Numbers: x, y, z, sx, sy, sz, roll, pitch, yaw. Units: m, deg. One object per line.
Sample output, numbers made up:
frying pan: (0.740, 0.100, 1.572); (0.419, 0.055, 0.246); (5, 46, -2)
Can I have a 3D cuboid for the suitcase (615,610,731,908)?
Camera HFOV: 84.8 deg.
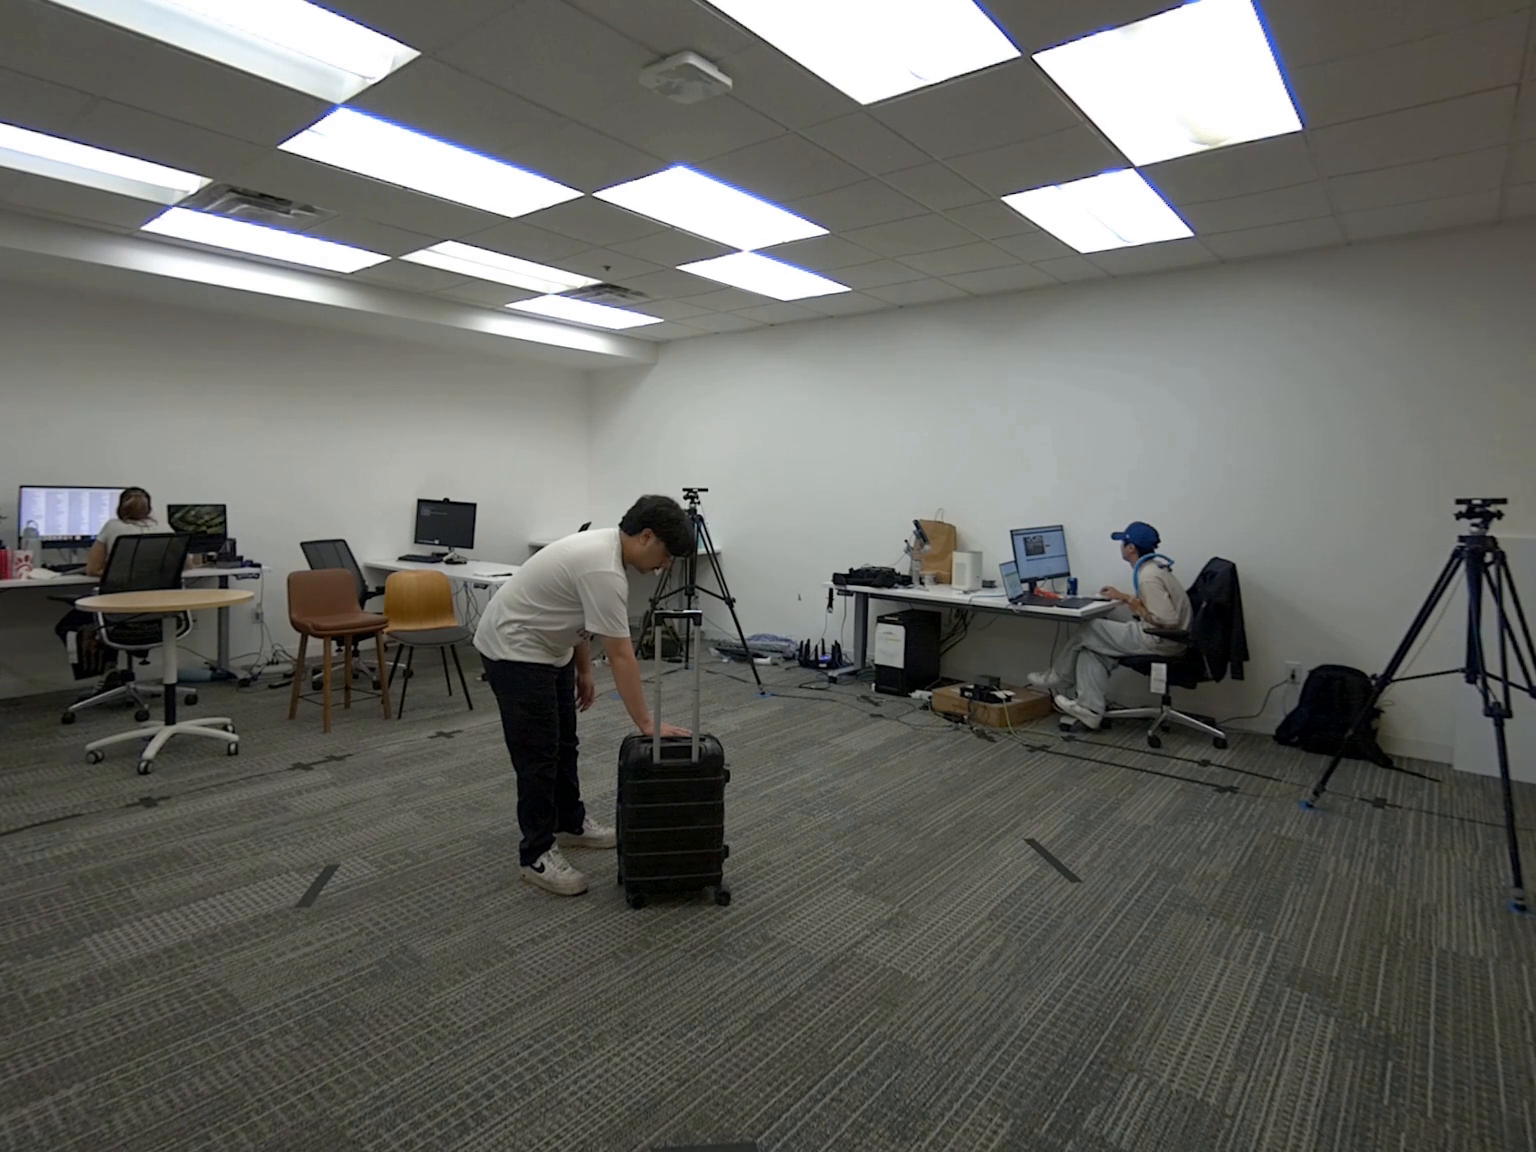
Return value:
suitcase: (-0.340, 0.611, 2.917); (0.380, 0.979, 0.259); (1, -1, -10)
